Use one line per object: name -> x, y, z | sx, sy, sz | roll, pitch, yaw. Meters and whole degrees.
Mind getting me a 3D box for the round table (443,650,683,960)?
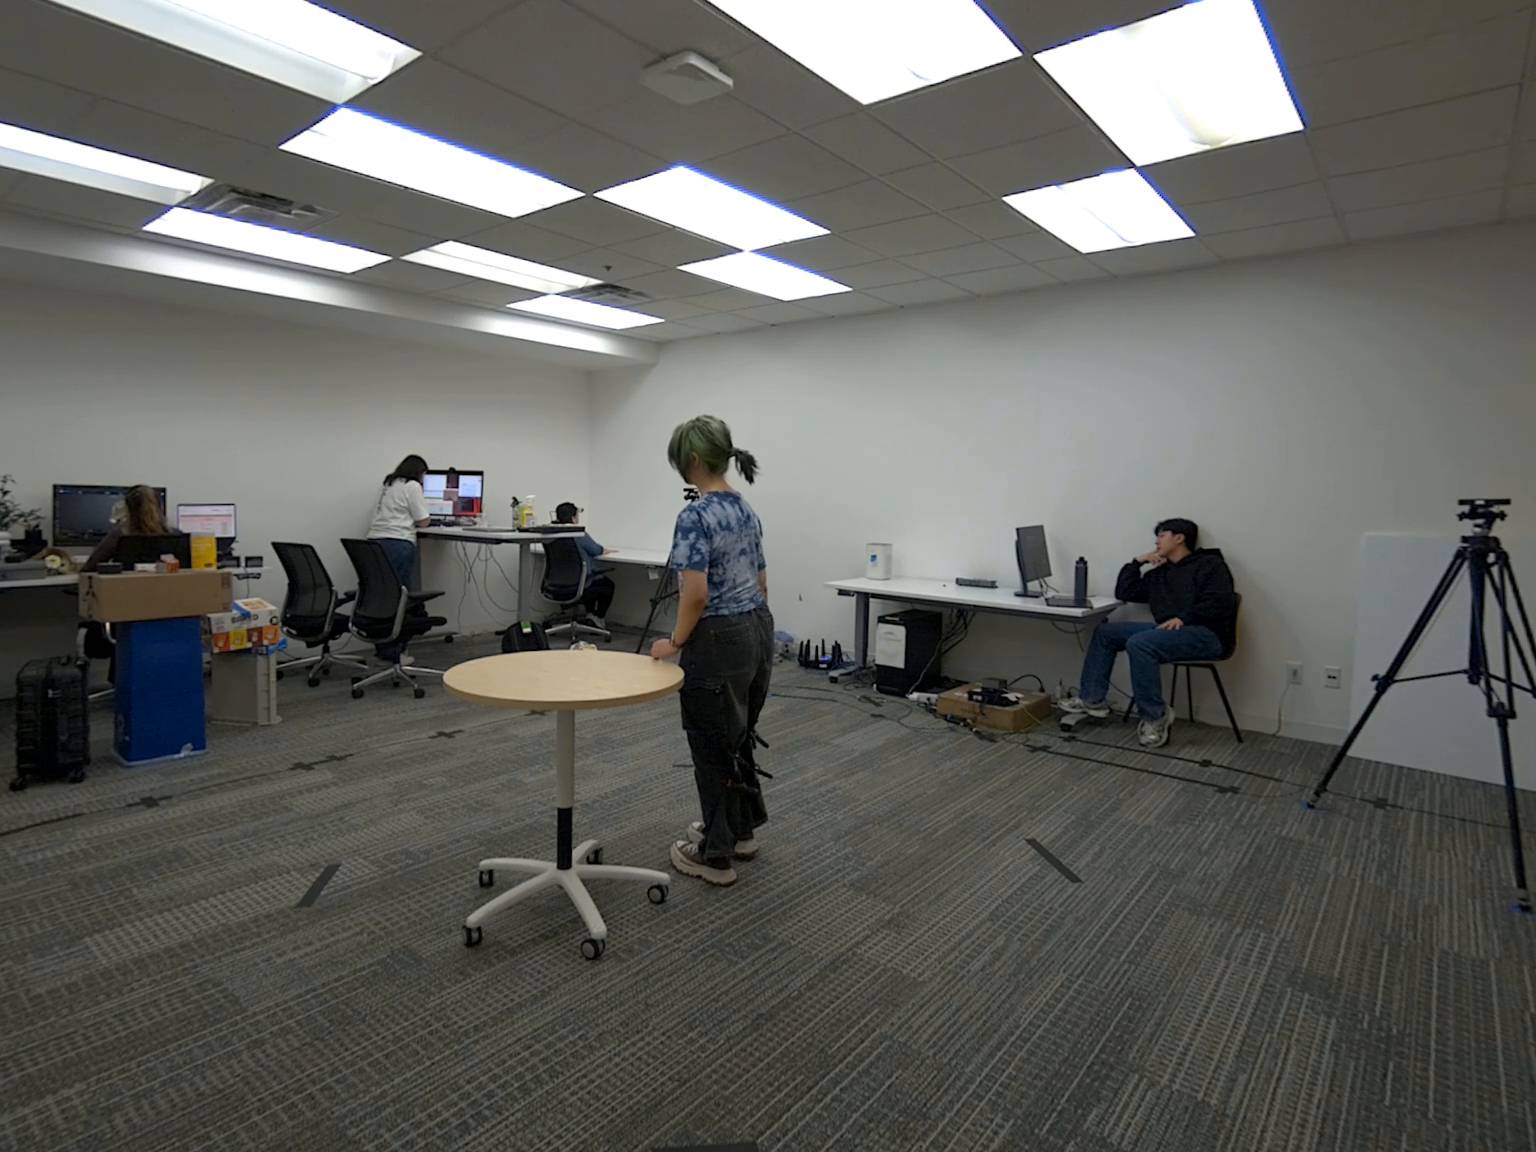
round table -> -0.676, 0.705, 2.777 | 0.763, 0.791, 0.768 | 1, 5, -2
